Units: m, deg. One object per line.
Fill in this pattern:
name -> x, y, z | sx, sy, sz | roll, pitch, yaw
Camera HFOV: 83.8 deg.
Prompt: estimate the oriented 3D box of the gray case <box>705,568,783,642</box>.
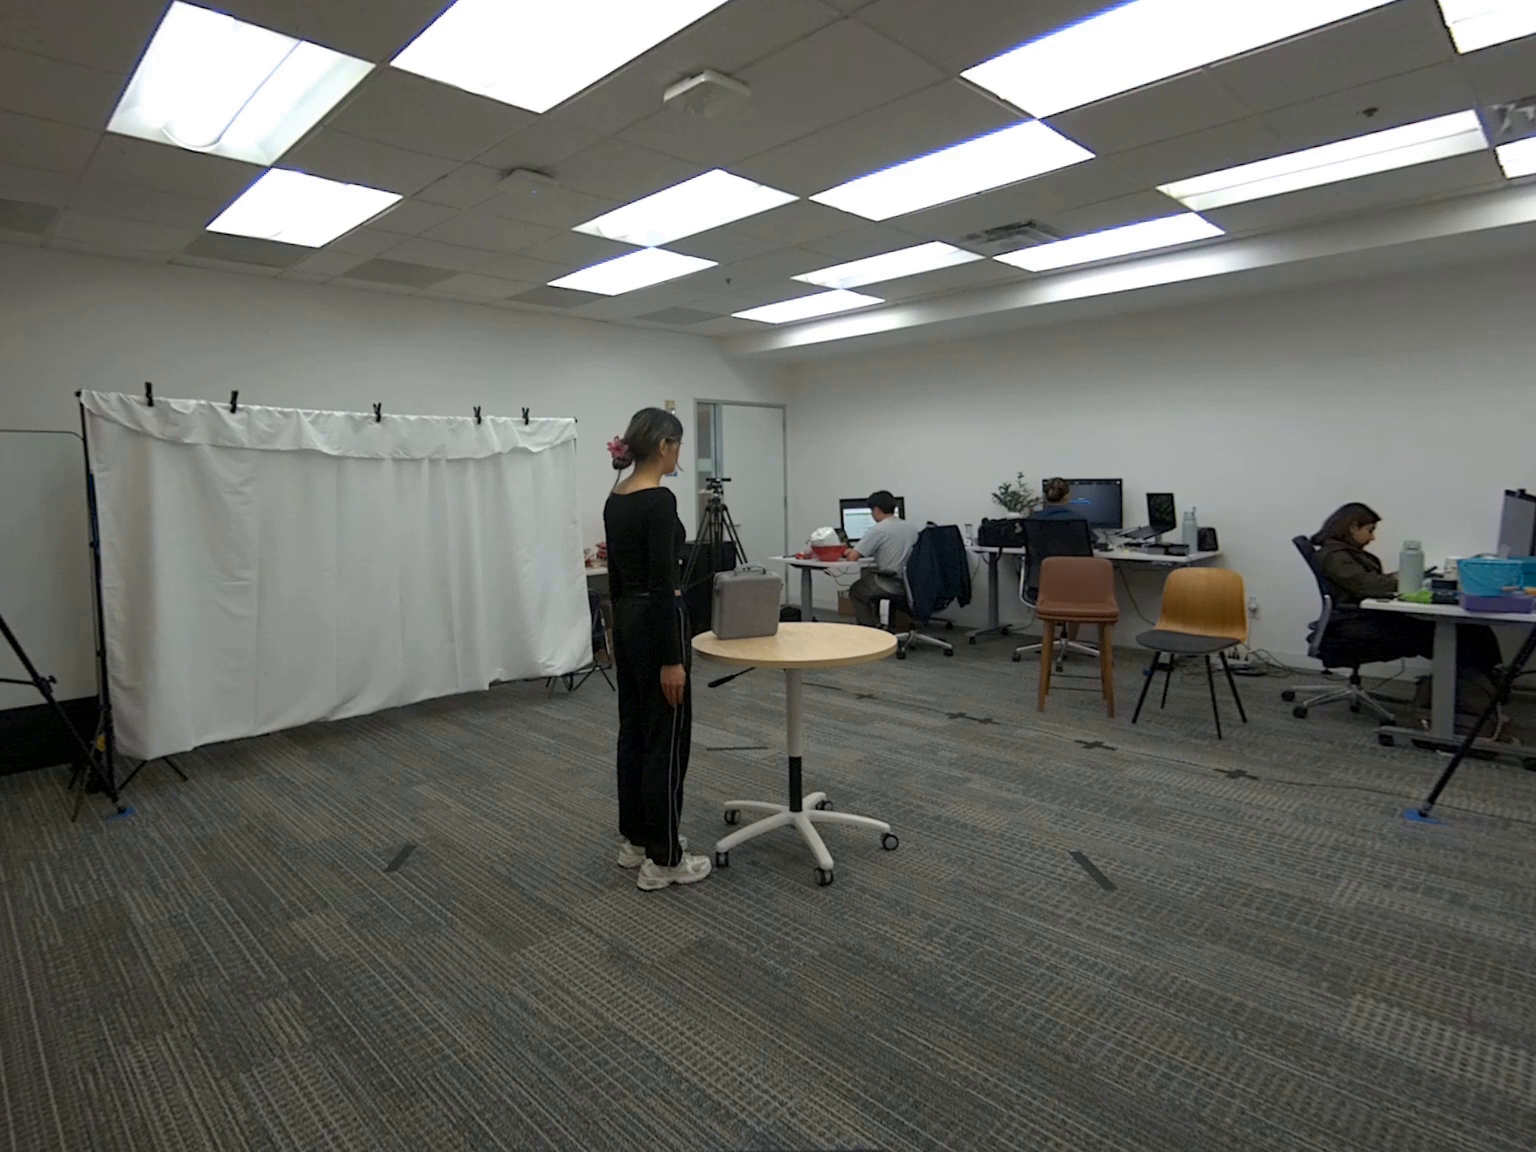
gray case -> -0.076, 0.104, 3.251 | 0.252, 0.257, 0.107 | -3, 15, -20
